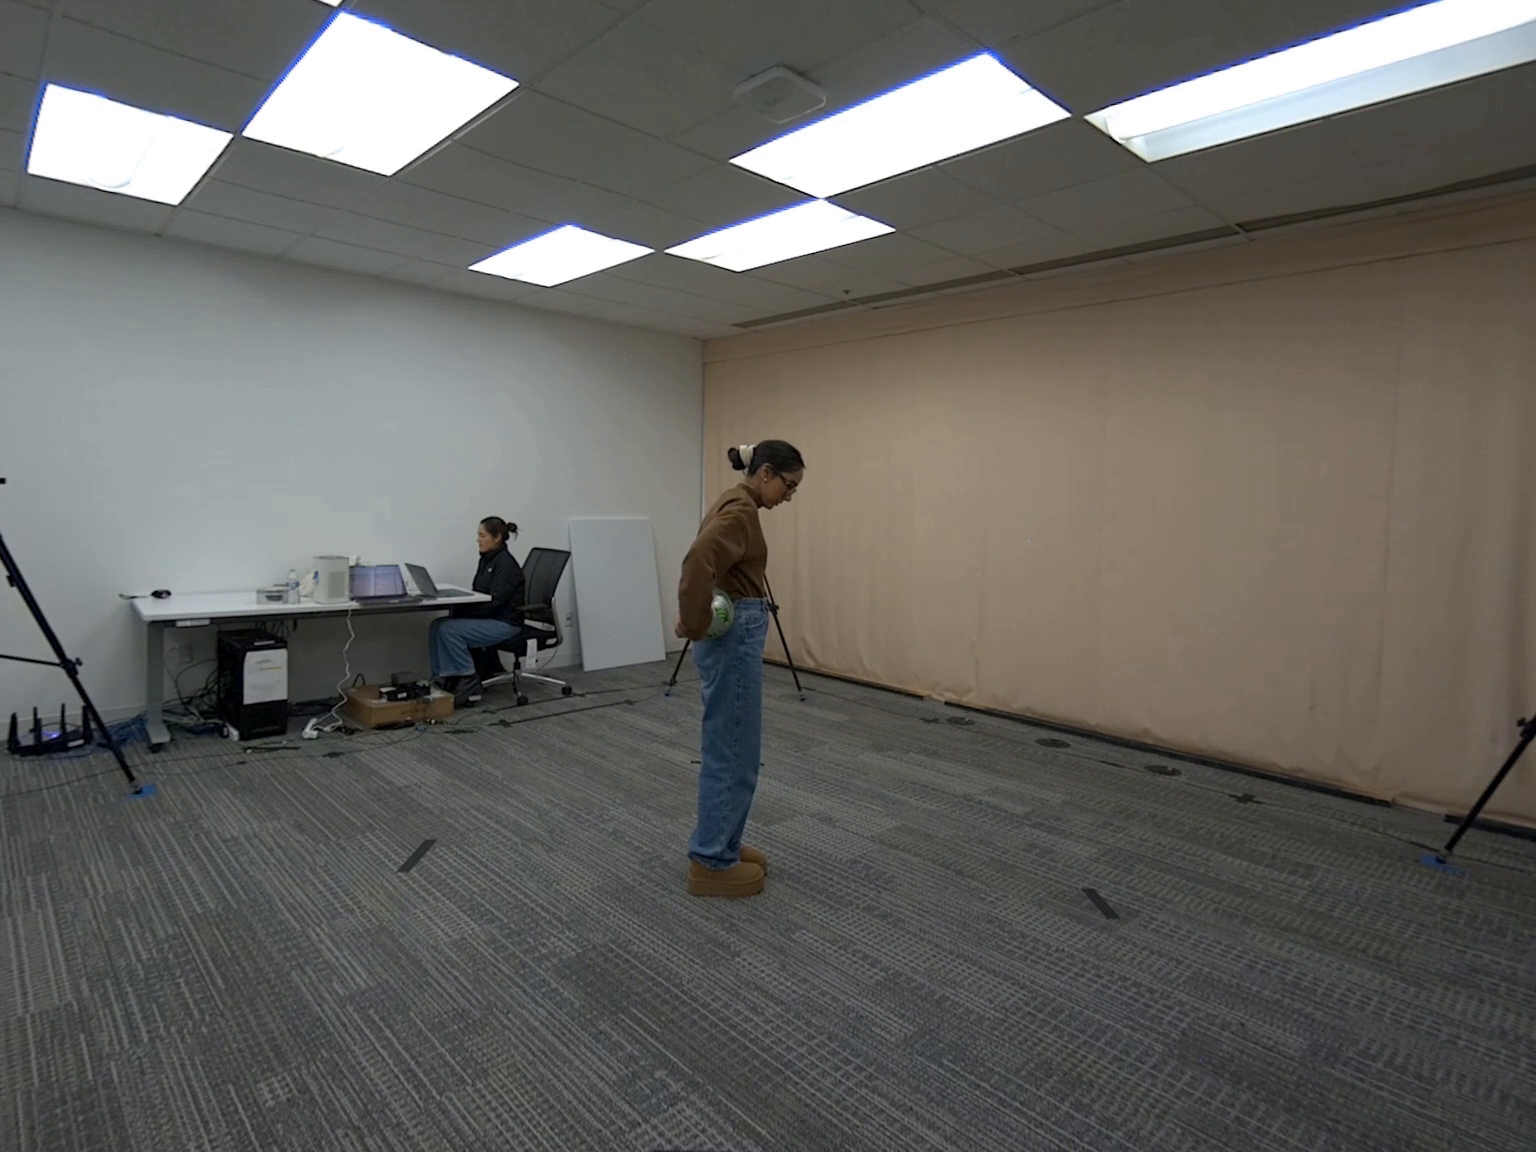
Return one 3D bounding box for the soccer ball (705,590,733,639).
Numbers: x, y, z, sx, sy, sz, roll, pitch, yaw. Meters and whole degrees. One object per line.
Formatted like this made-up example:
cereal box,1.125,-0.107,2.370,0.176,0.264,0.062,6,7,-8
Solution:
soccer ball,-0.218,0.129,2.811,0.187,0.187,0.188,1,4,-1
